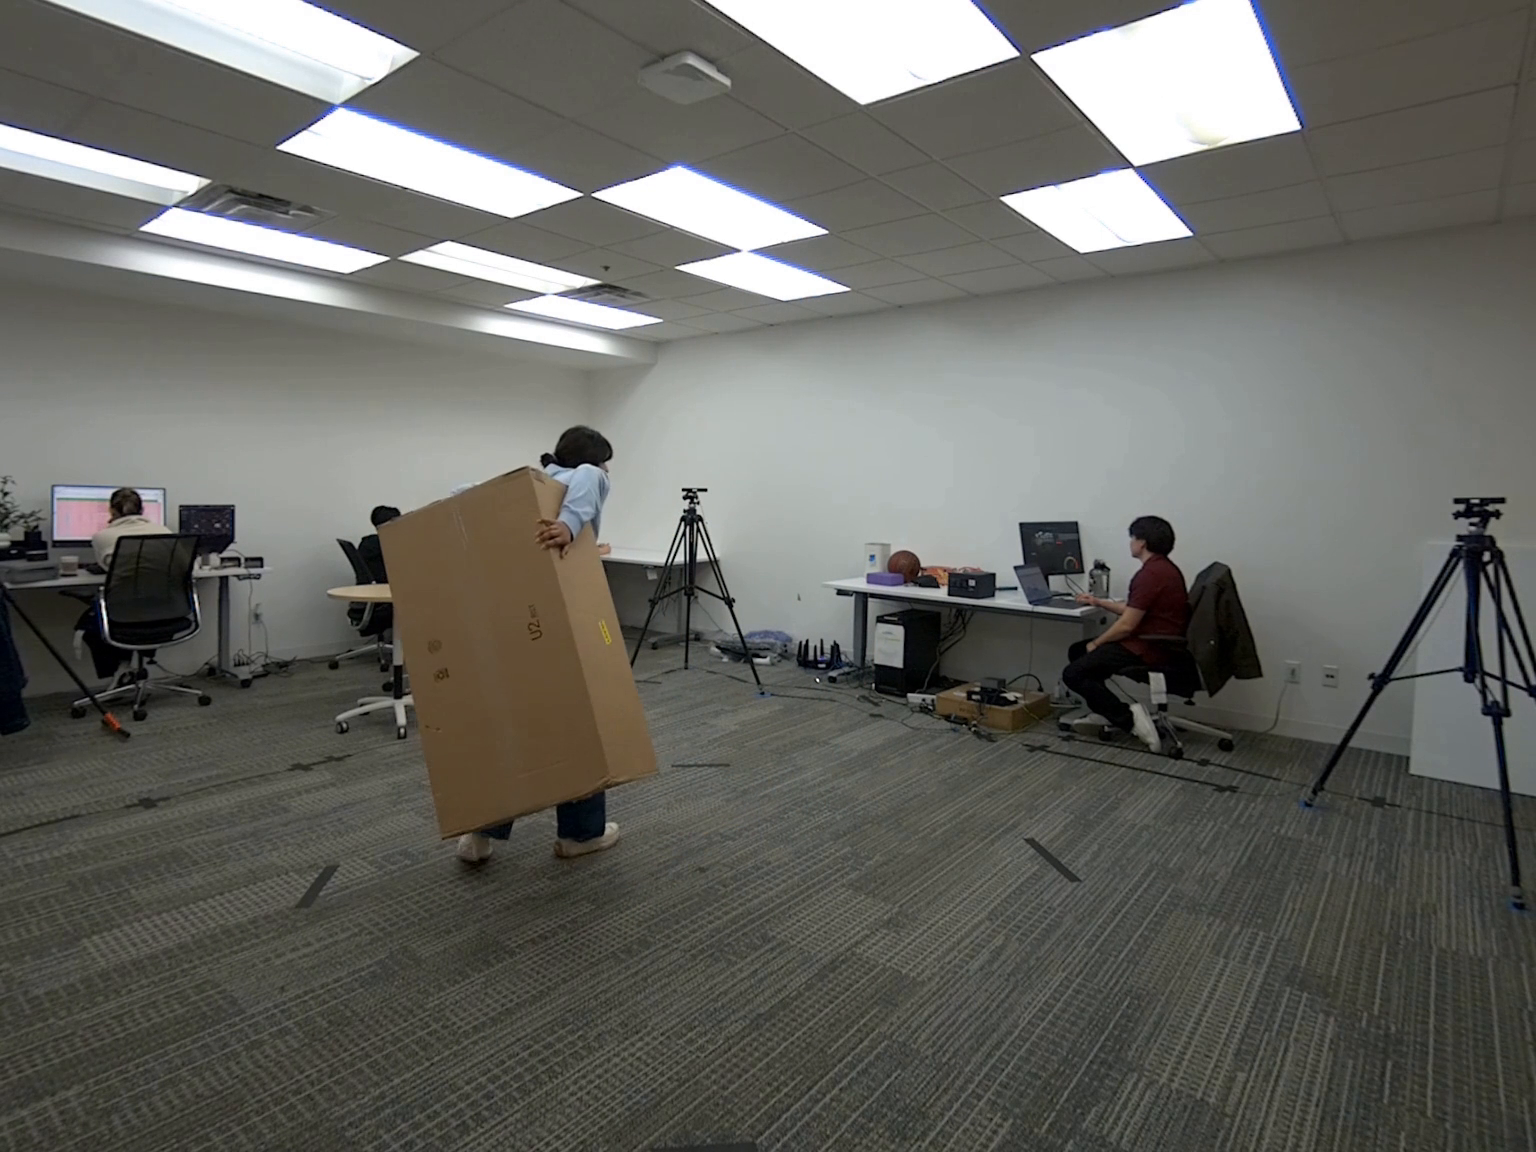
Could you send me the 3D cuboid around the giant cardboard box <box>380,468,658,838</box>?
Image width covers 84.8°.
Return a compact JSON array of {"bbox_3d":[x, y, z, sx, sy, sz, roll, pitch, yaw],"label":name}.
[{"bbox_3d":[-0.836,0.246,2.800,0.581,1.045,0.415,-21,-15,10],"label":"giant cardboard box"}]
